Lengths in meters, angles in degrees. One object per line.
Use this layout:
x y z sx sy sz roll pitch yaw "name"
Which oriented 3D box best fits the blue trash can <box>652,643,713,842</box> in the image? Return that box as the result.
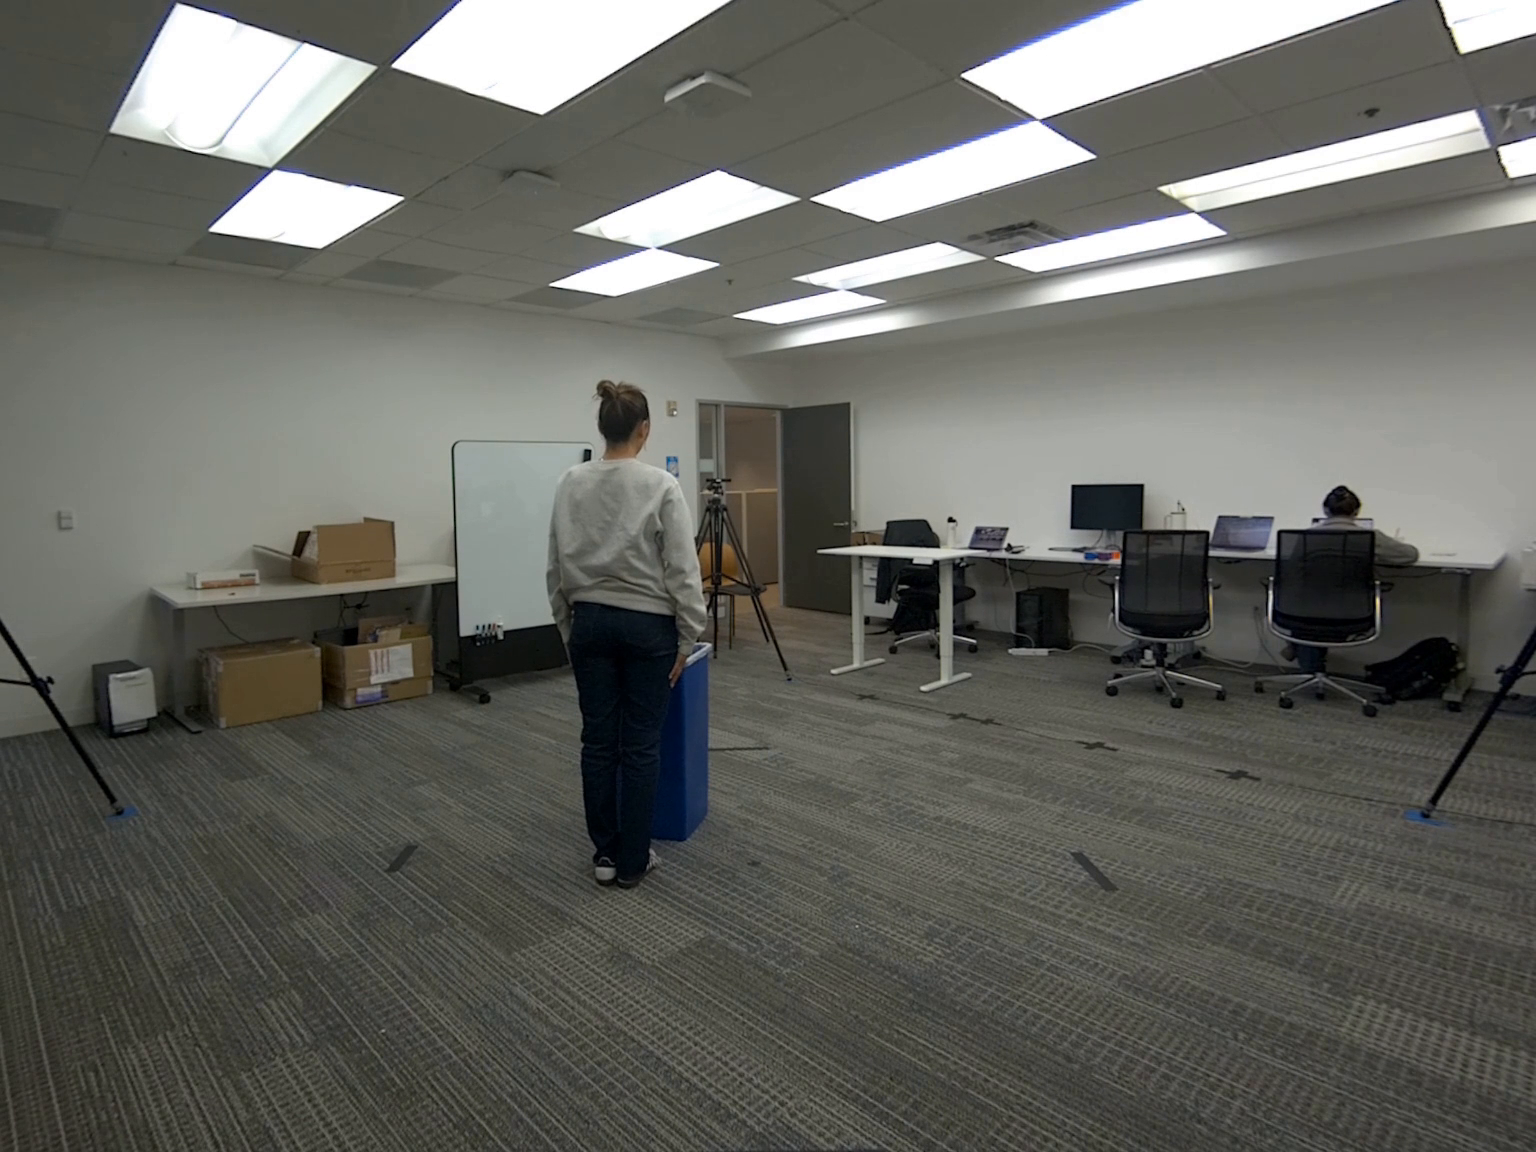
-0.434 0.656 3.450 0.384 0.711 0.369 0 4 15 "blue trash can"
